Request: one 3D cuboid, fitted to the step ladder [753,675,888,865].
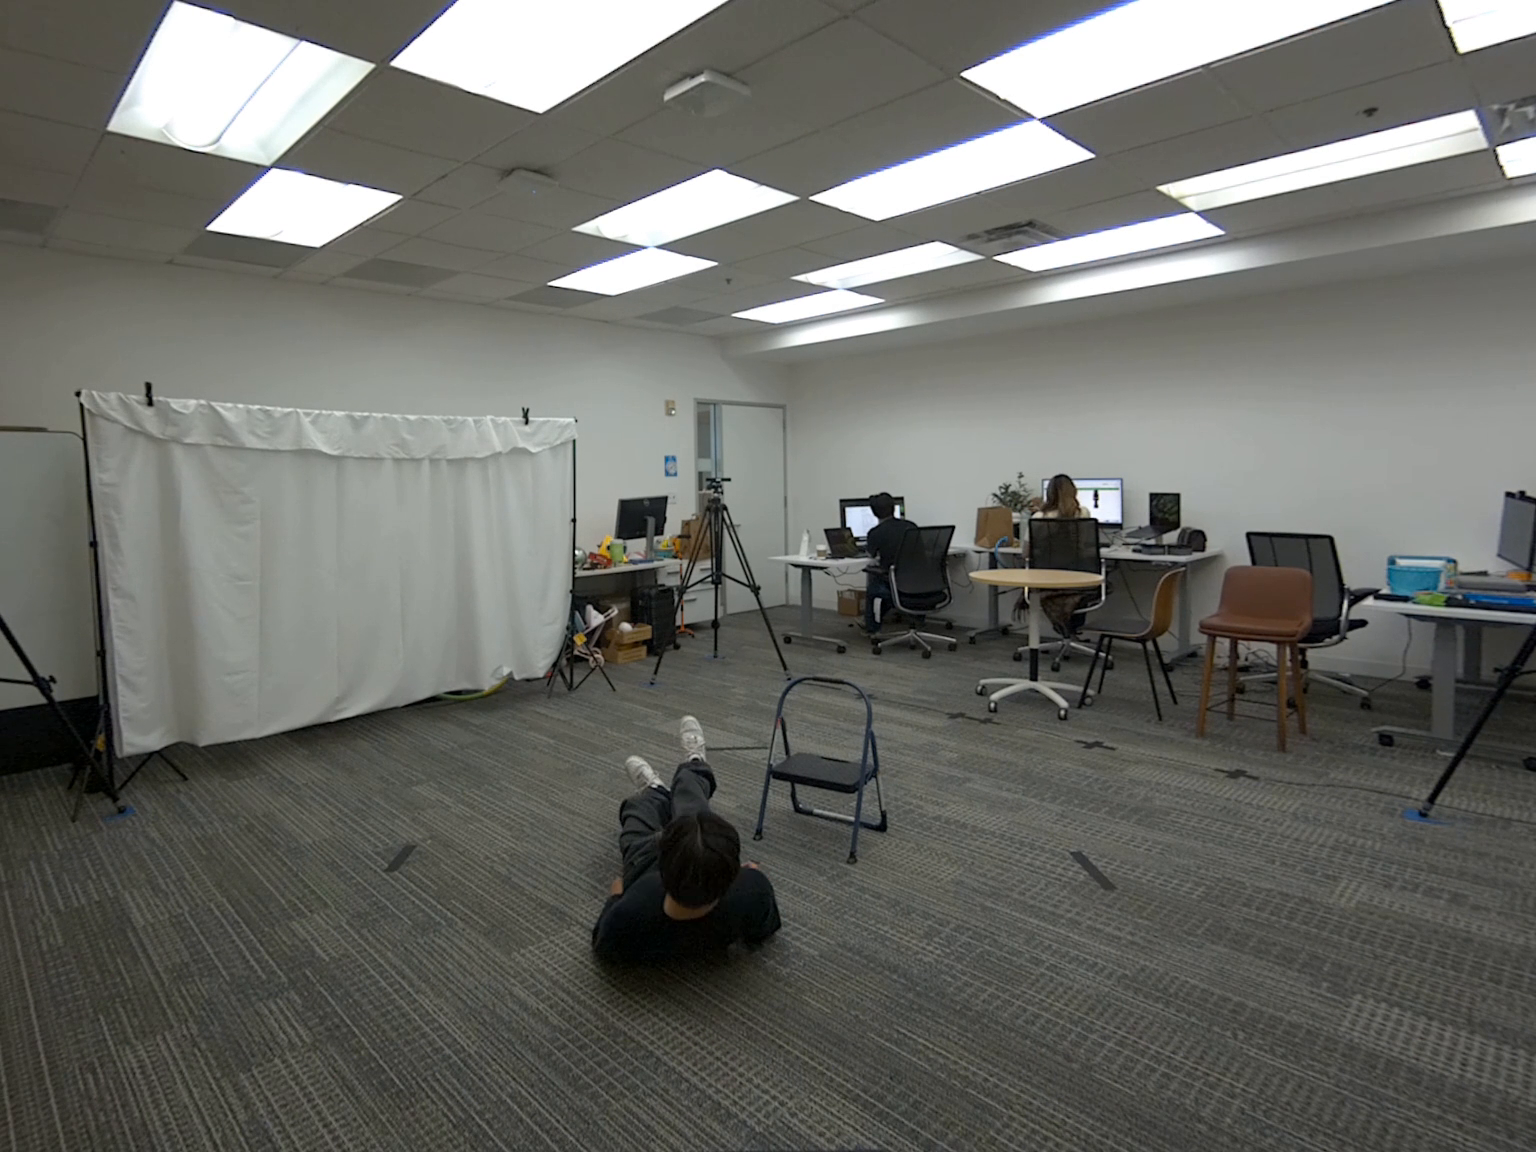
[{"bbox_3d":[0.209,0.709,3.321,0.442,0.604,0.341,2,5,32],"label":"step ladder"}]
